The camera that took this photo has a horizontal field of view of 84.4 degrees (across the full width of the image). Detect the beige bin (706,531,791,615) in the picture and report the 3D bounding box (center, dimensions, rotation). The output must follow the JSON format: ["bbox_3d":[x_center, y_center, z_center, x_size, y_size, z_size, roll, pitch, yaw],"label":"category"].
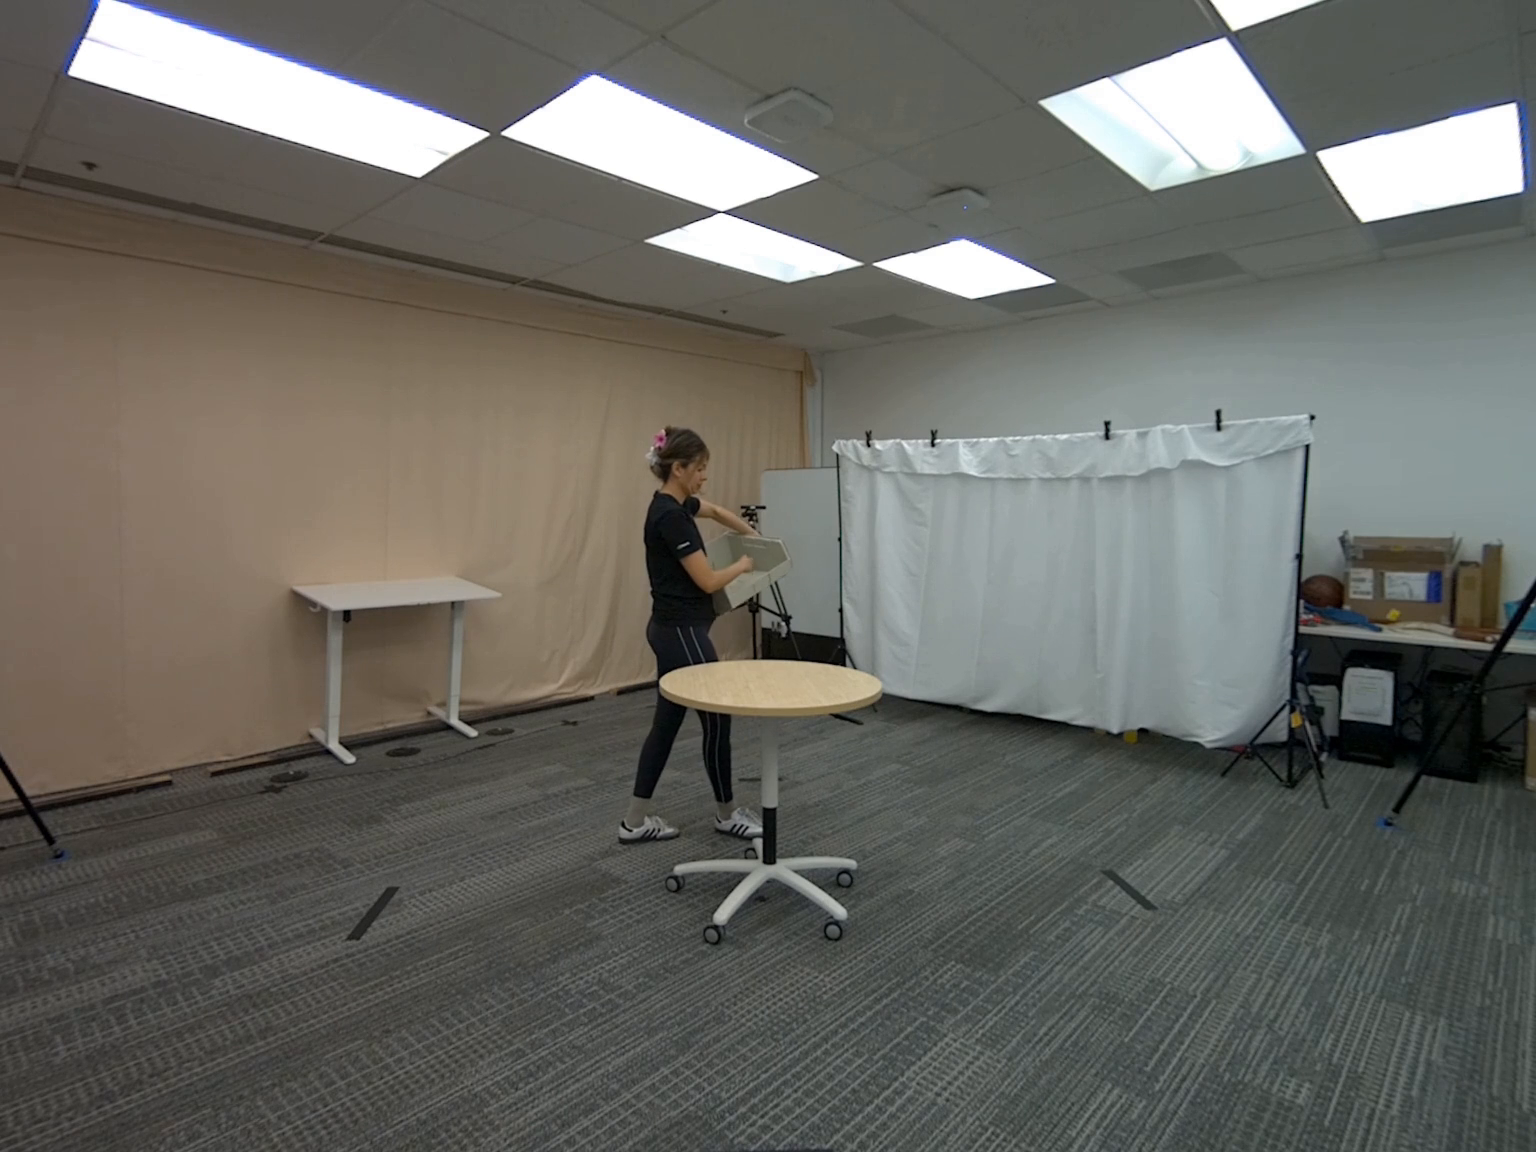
[{"bbox_3d":[-0.164,-0.014,3.698,0.390,0.186,0.415,8,30,42],"label":"beige bin"}]
